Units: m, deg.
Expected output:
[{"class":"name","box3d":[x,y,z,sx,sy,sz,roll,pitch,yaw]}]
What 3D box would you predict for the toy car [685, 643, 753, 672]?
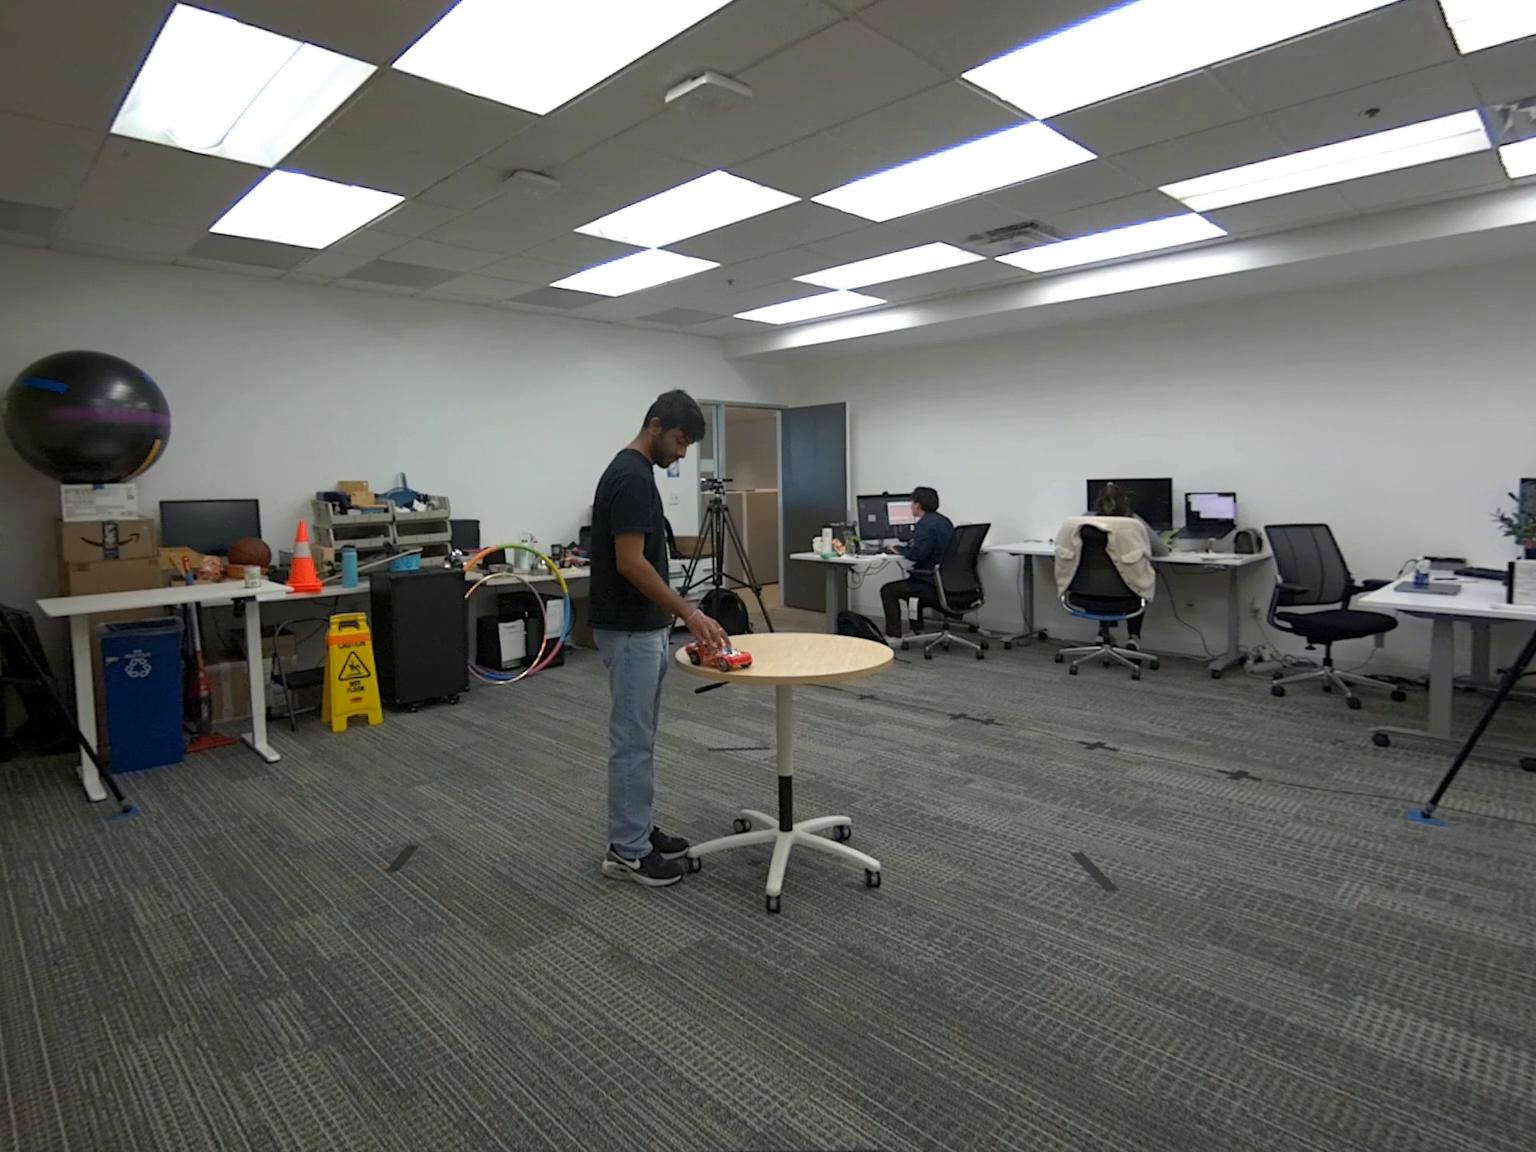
[{"class":"toy car","box3d":[-0.168,0.266,2.829,0.127,0.082,0.264,-6,18,-42]}]
